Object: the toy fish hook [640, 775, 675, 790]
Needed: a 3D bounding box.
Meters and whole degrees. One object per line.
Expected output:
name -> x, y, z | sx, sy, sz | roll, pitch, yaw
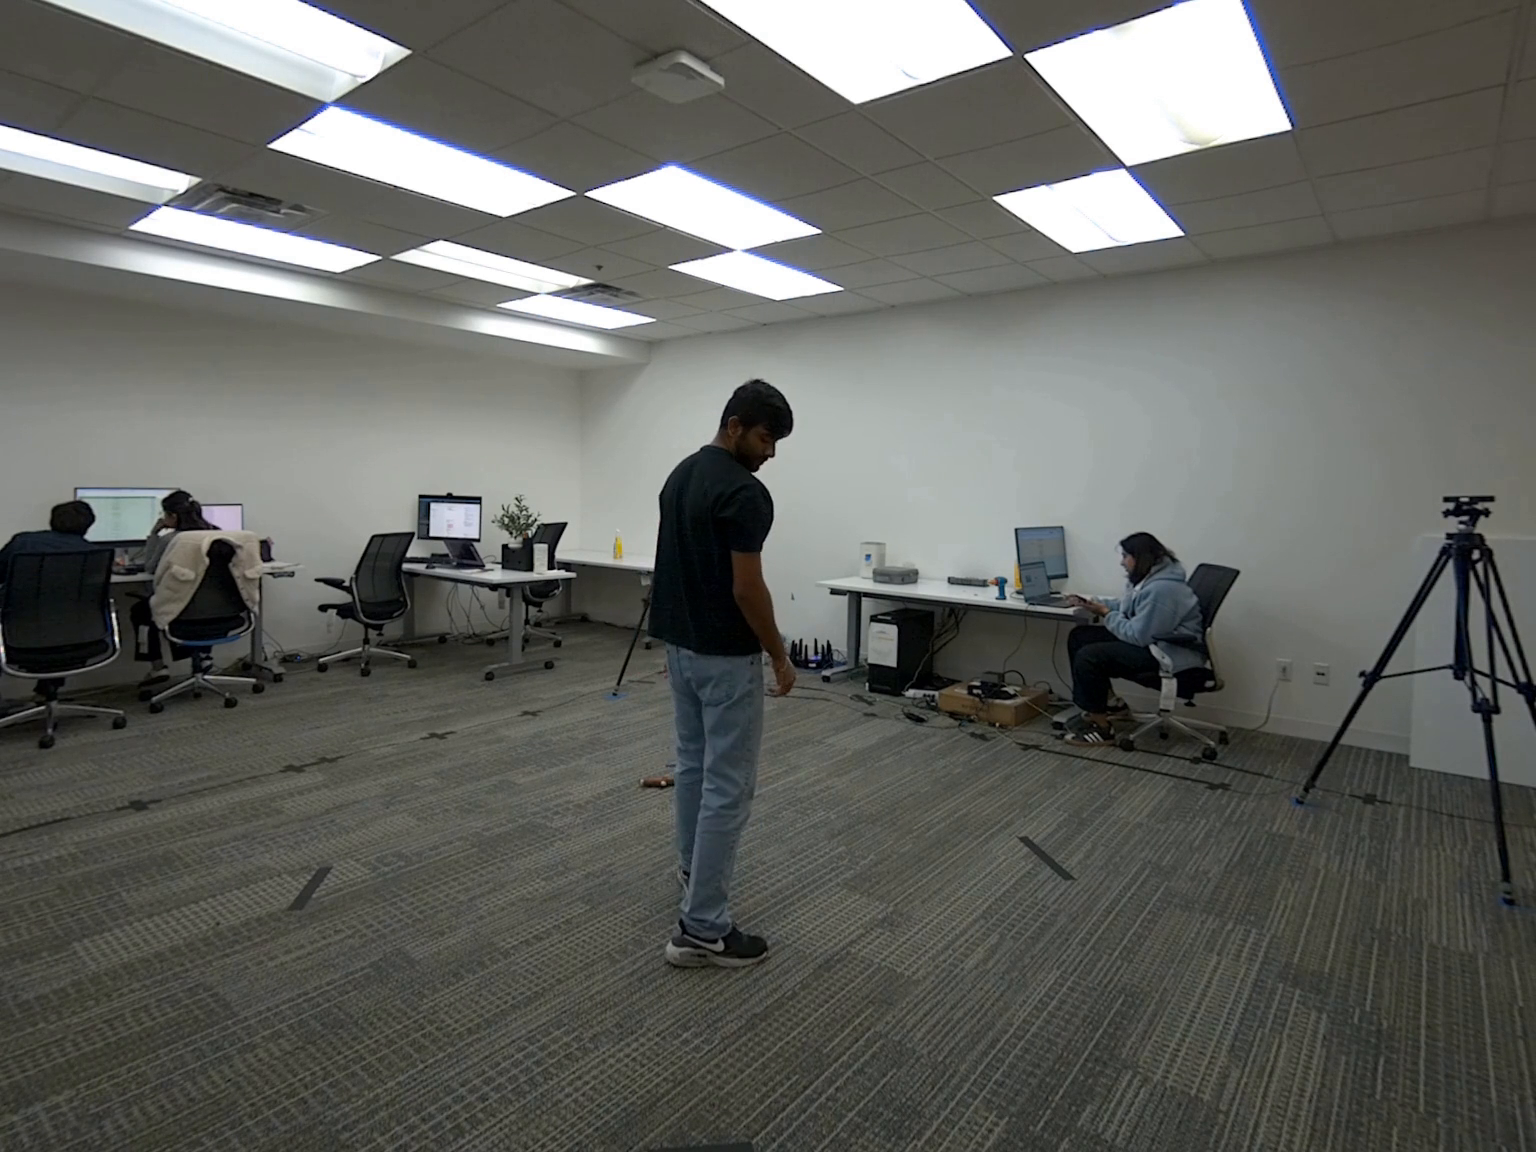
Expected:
toy fish hook -> -0.374, 0.956, 4.039 | 0.503, 0.048, 0.226 | 1, -2, -7
